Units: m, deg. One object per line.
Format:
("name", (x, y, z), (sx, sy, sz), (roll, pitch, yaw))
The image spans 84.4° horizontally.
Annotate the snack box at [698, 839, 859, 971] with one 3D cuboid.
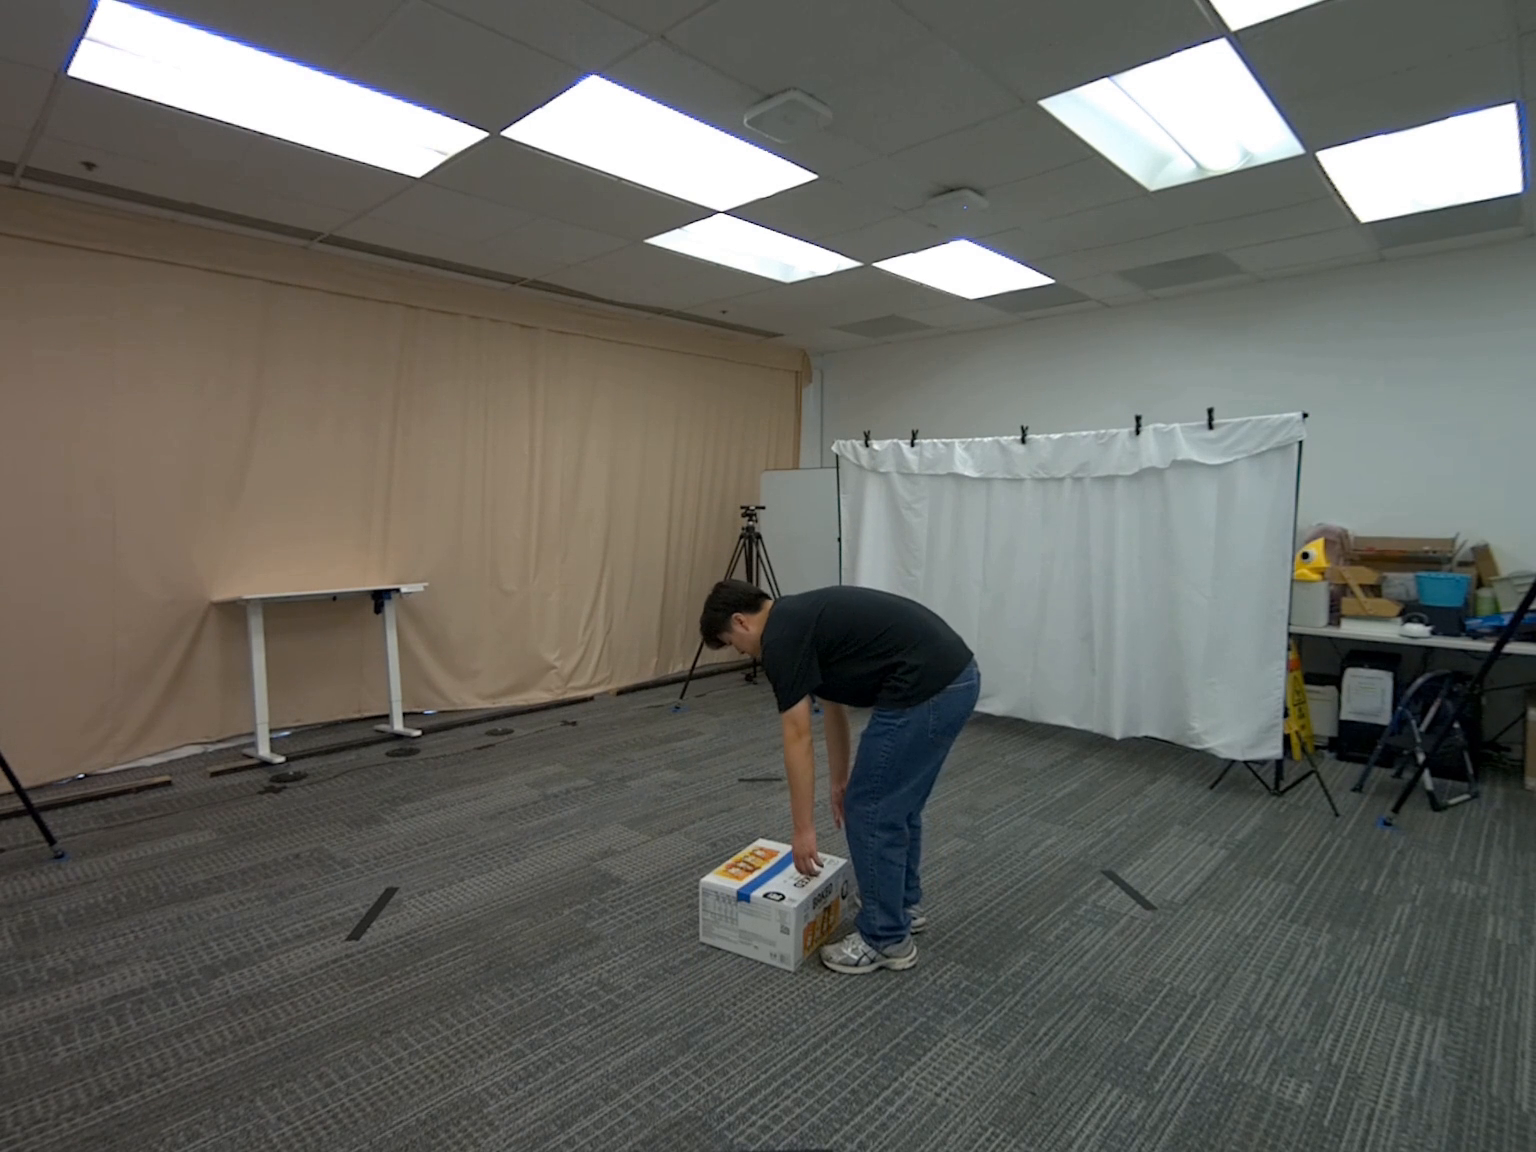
("snack box", (0.031, 1.062, 2.755), (0.350, 0.205, 0.394), (2, 5, 30))
